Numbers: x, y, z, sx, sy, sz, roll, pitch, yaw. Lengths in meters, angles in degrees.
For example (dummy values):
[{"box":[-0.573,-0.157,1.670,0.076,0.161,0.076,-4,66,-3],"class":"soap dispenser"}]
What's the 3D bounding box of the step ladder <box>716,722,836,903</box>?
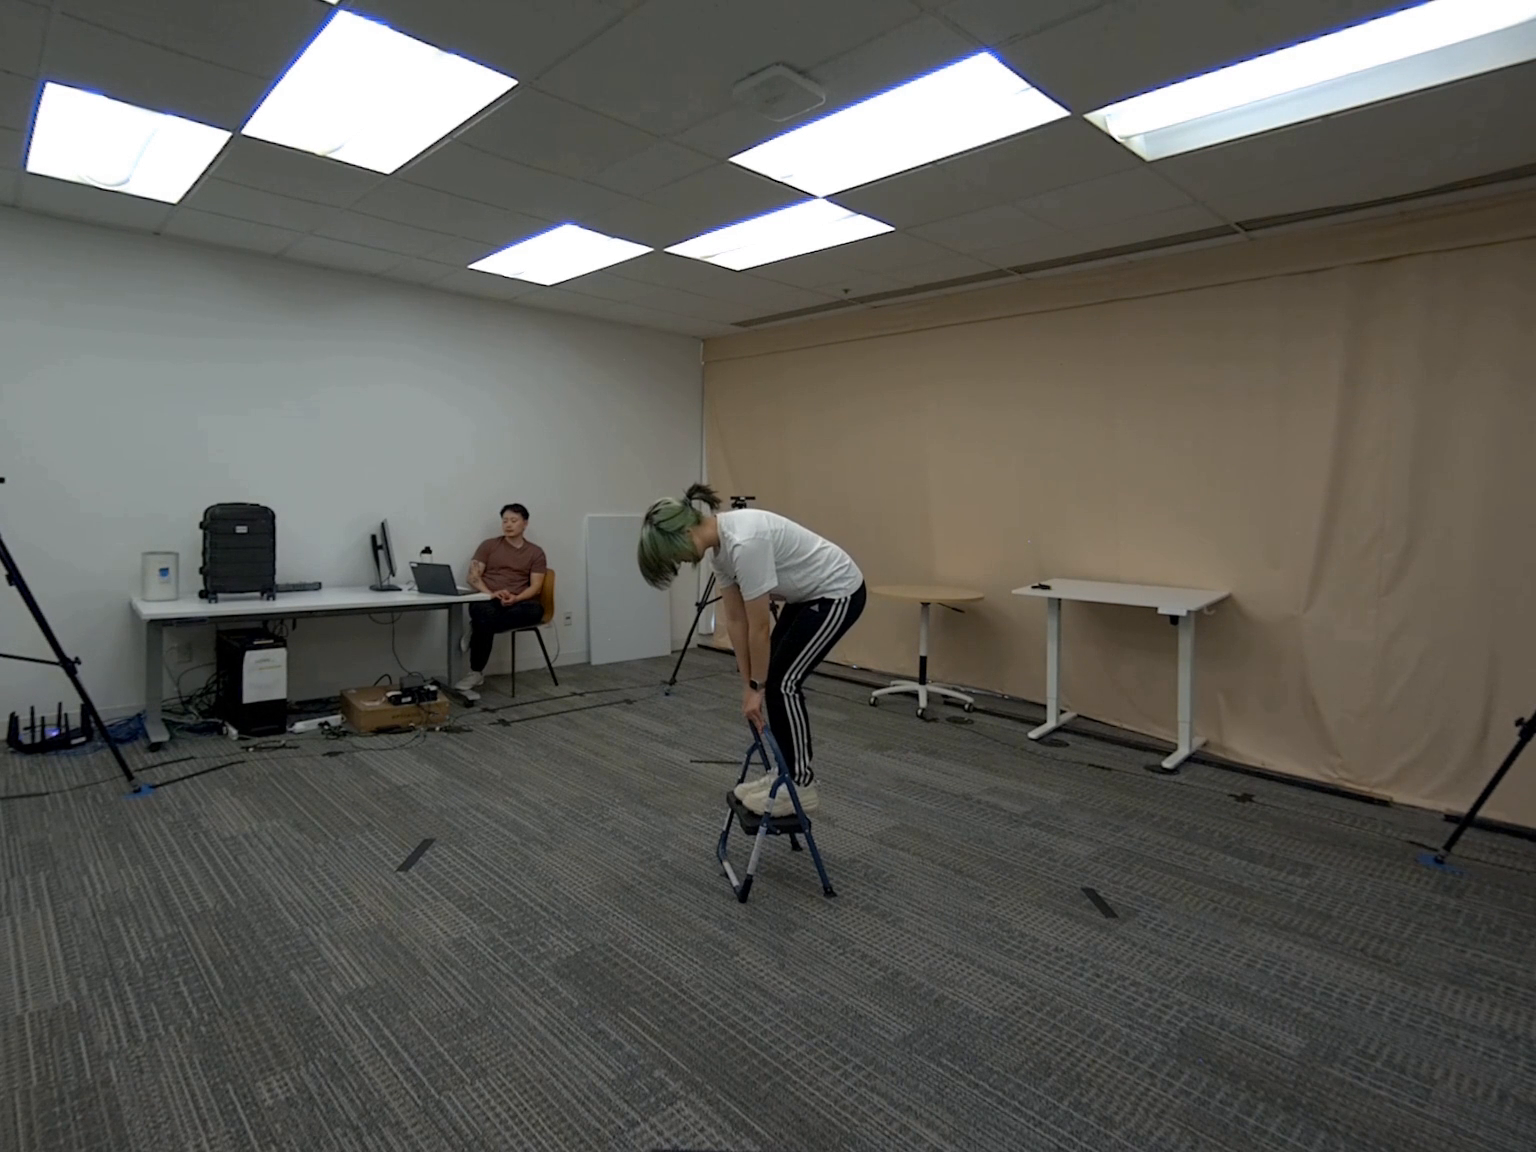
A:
[{"box":[0.016,0.810,3.105,0.345,0.605,0.436,1,3,-15],"class":"step ladder"}]
